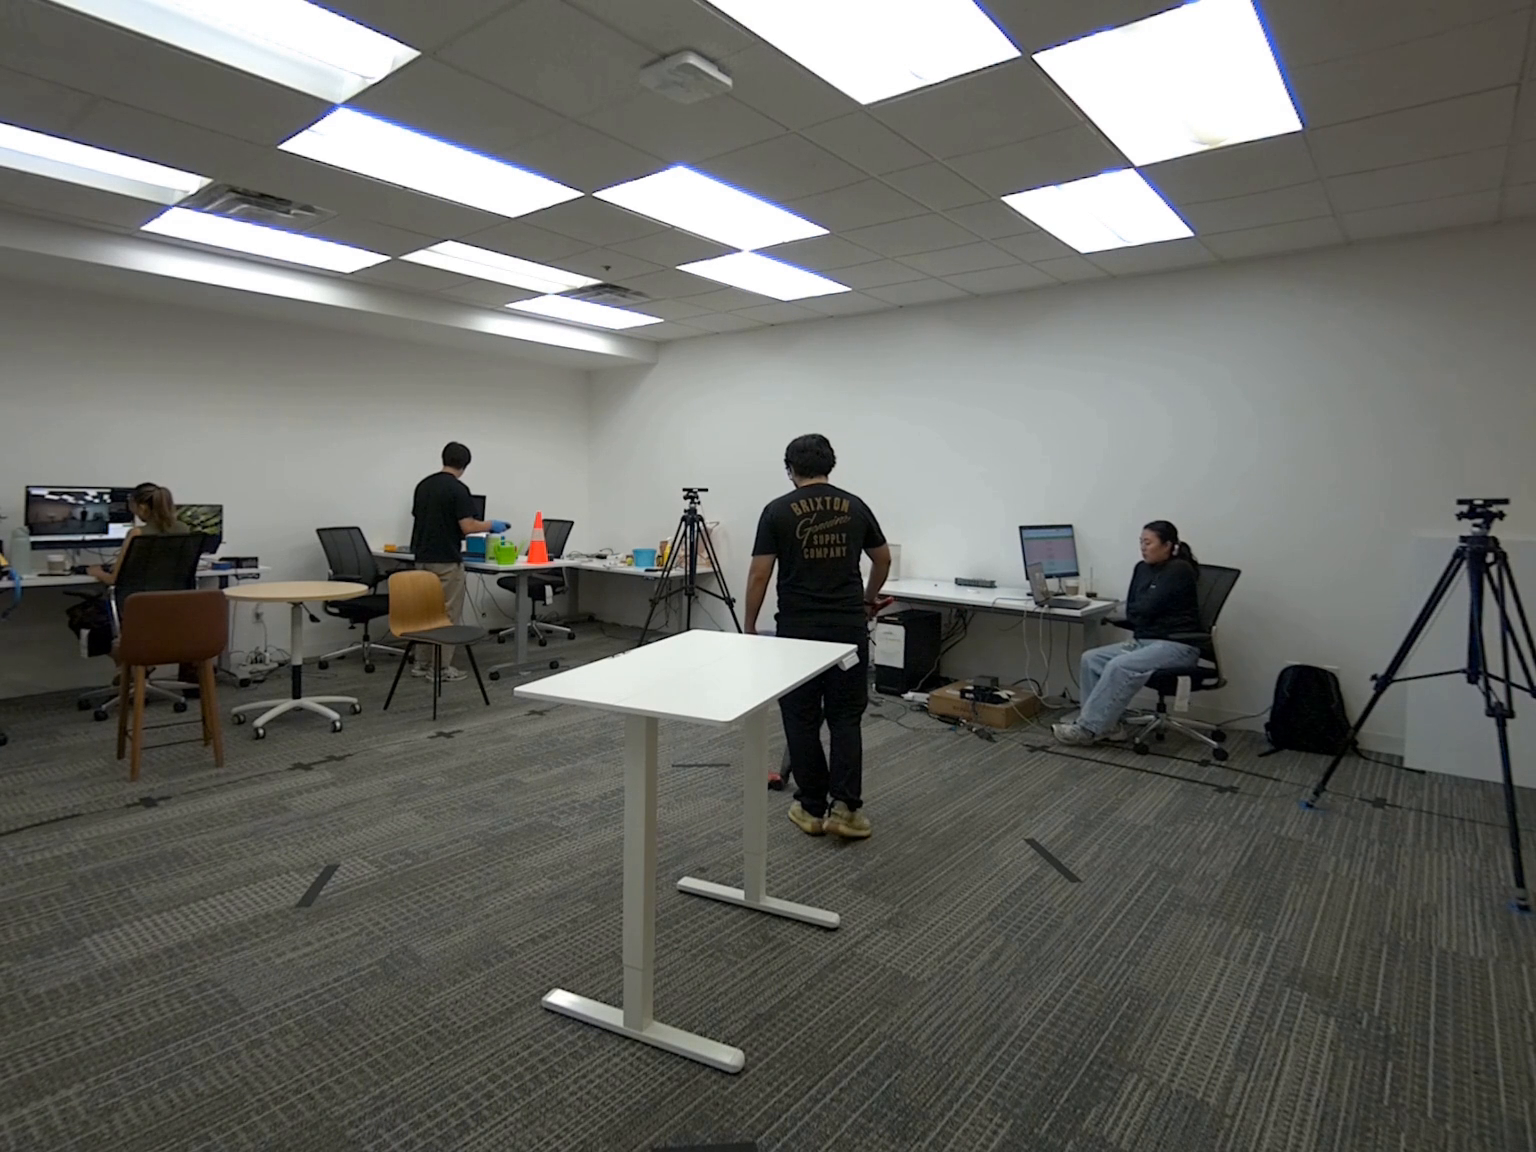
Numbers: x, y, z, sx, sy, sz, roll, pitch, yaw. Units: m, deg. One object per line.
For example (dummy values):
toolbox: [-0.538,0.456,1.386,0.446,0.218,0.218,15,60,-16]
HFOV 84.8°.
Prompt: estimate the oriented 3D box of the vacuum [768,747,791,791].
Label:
vacuum: [0.266,0.537,3.911,0.147,1.046,0.248,35,13,15]
